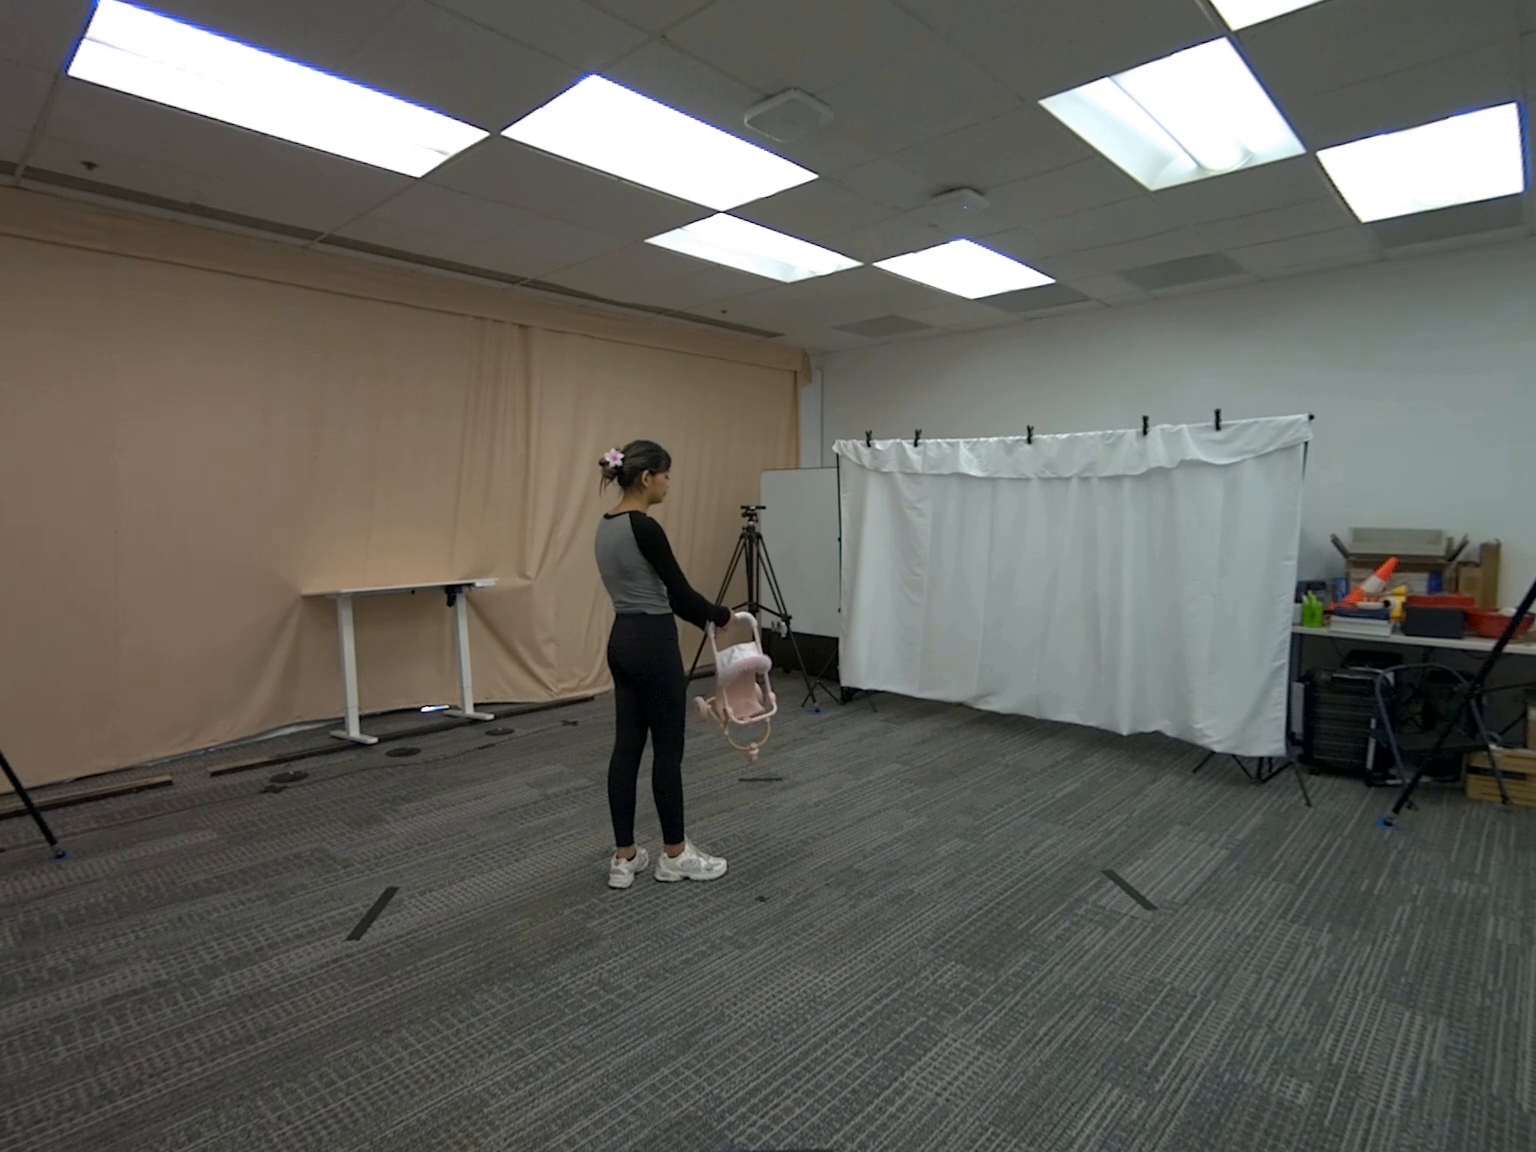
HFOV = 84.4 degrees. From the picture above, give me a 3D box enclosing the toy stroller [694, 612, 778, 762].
[{"bbox_3d":[-0.109,0.463,3.350,0.276,0.527,0.353,-10,39,-22],"label":"toy stroller"}]
